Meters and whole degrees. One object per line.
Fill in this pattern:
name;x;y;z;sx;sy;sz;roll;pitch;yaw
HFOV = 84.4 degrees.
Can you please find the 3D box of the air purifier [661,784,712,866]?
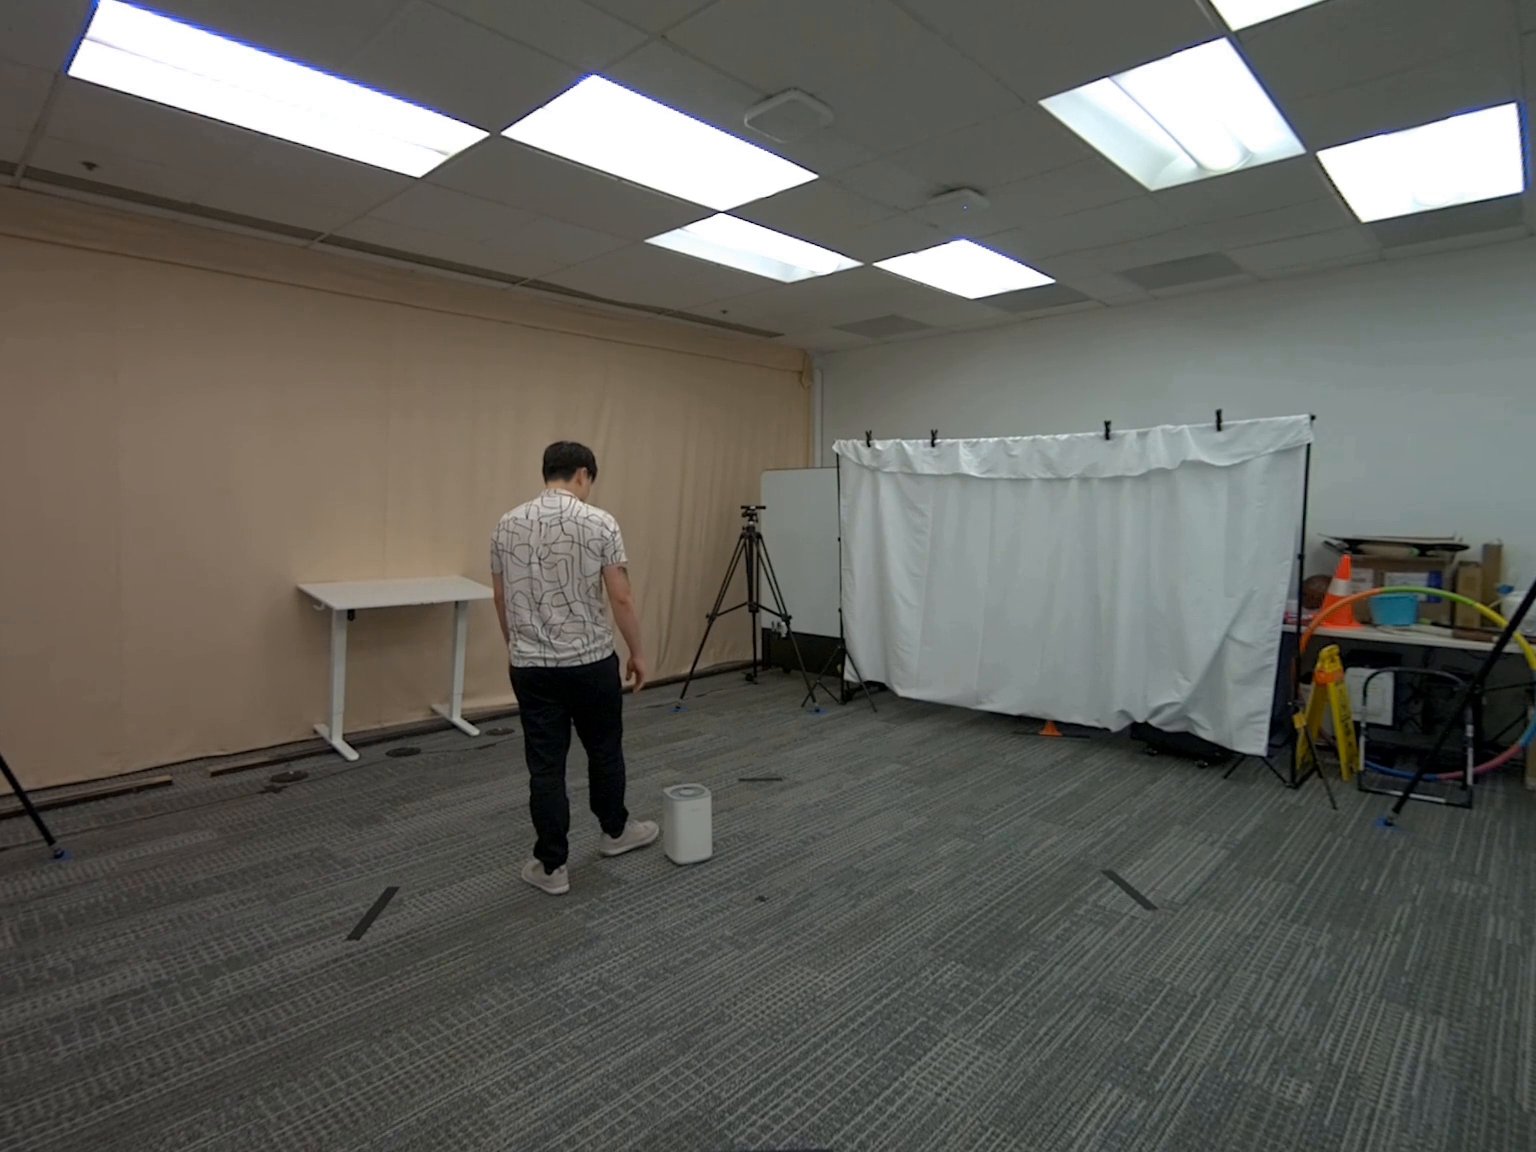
air purifier;-0.320;0.985;3.330;0.167;0.265;0.175;-2;4;-26
